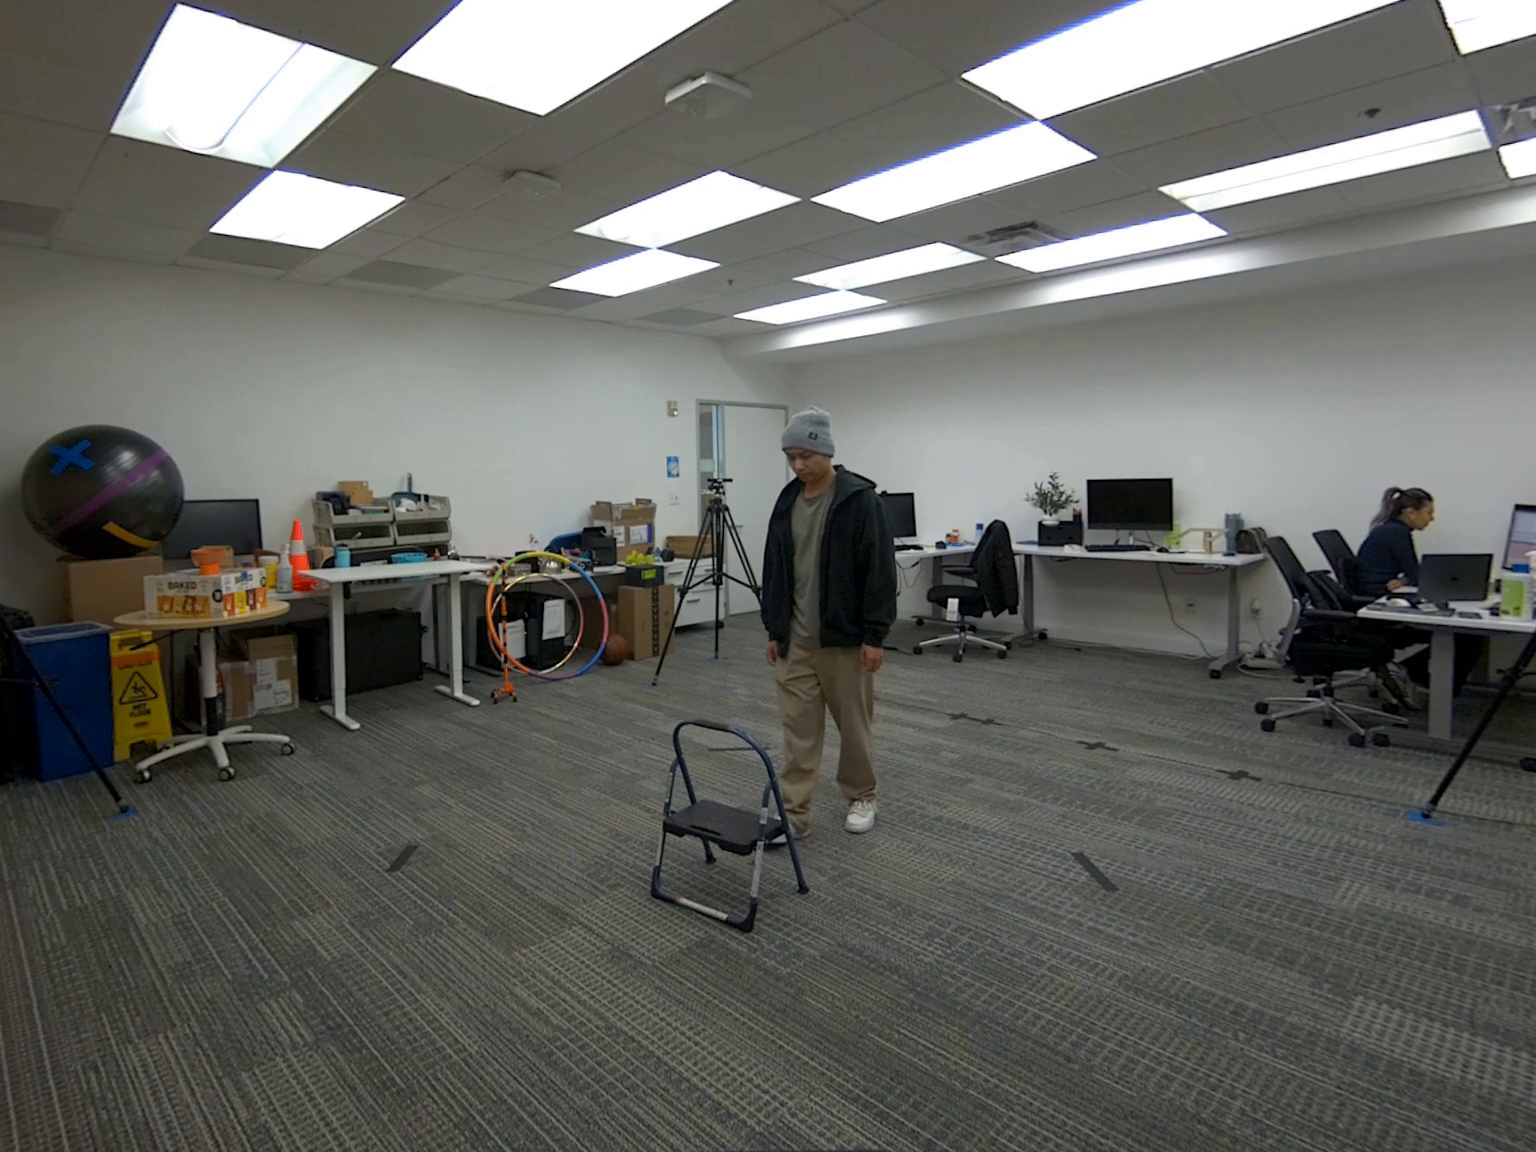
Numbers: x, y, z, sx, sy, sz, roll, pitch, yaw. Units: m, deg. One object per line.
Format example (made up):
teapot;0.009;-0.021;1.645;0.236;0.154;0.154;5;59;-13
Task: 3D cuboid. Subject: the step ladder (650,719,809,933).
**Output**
step ladder;-0.135;0.770;2.867;0.443;0.604;0.341;2;5;35
